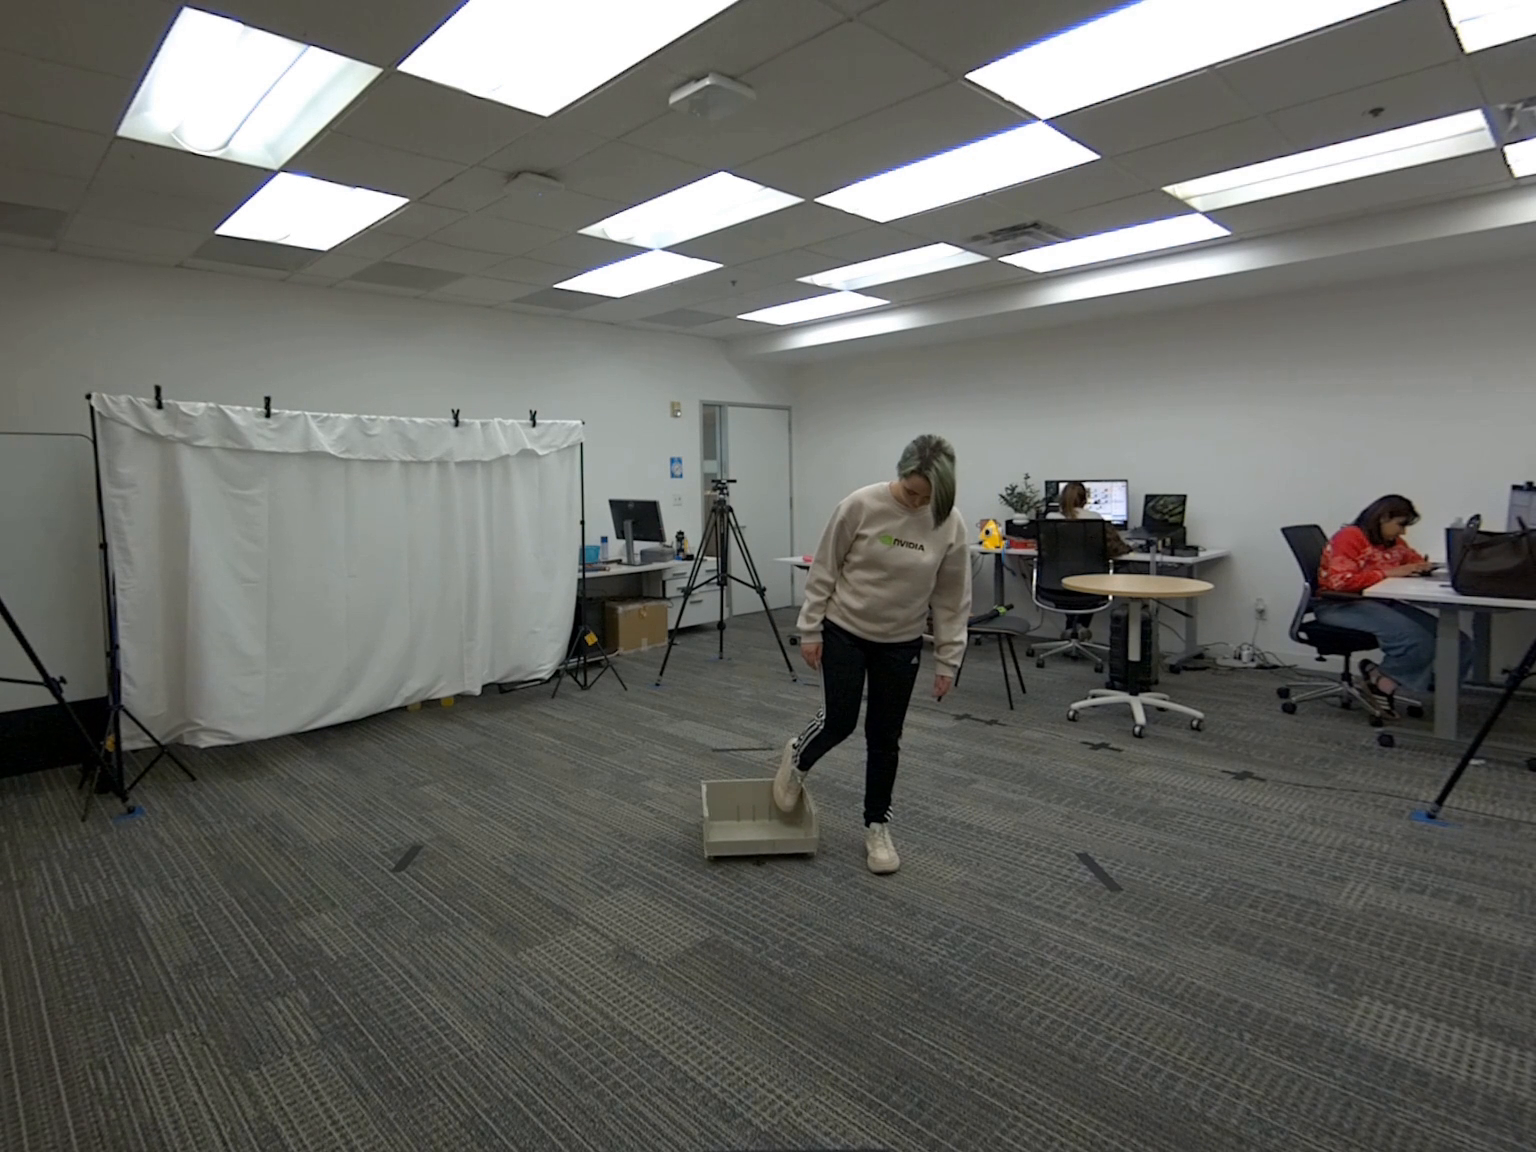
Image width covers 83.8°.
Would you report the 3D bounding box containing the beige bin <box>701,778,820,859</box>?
[{"bbox_3d":[-0.038,0.937,3.290,0.421,0.188,0.380,-1,5,-3],"label":"beige bin"}]
